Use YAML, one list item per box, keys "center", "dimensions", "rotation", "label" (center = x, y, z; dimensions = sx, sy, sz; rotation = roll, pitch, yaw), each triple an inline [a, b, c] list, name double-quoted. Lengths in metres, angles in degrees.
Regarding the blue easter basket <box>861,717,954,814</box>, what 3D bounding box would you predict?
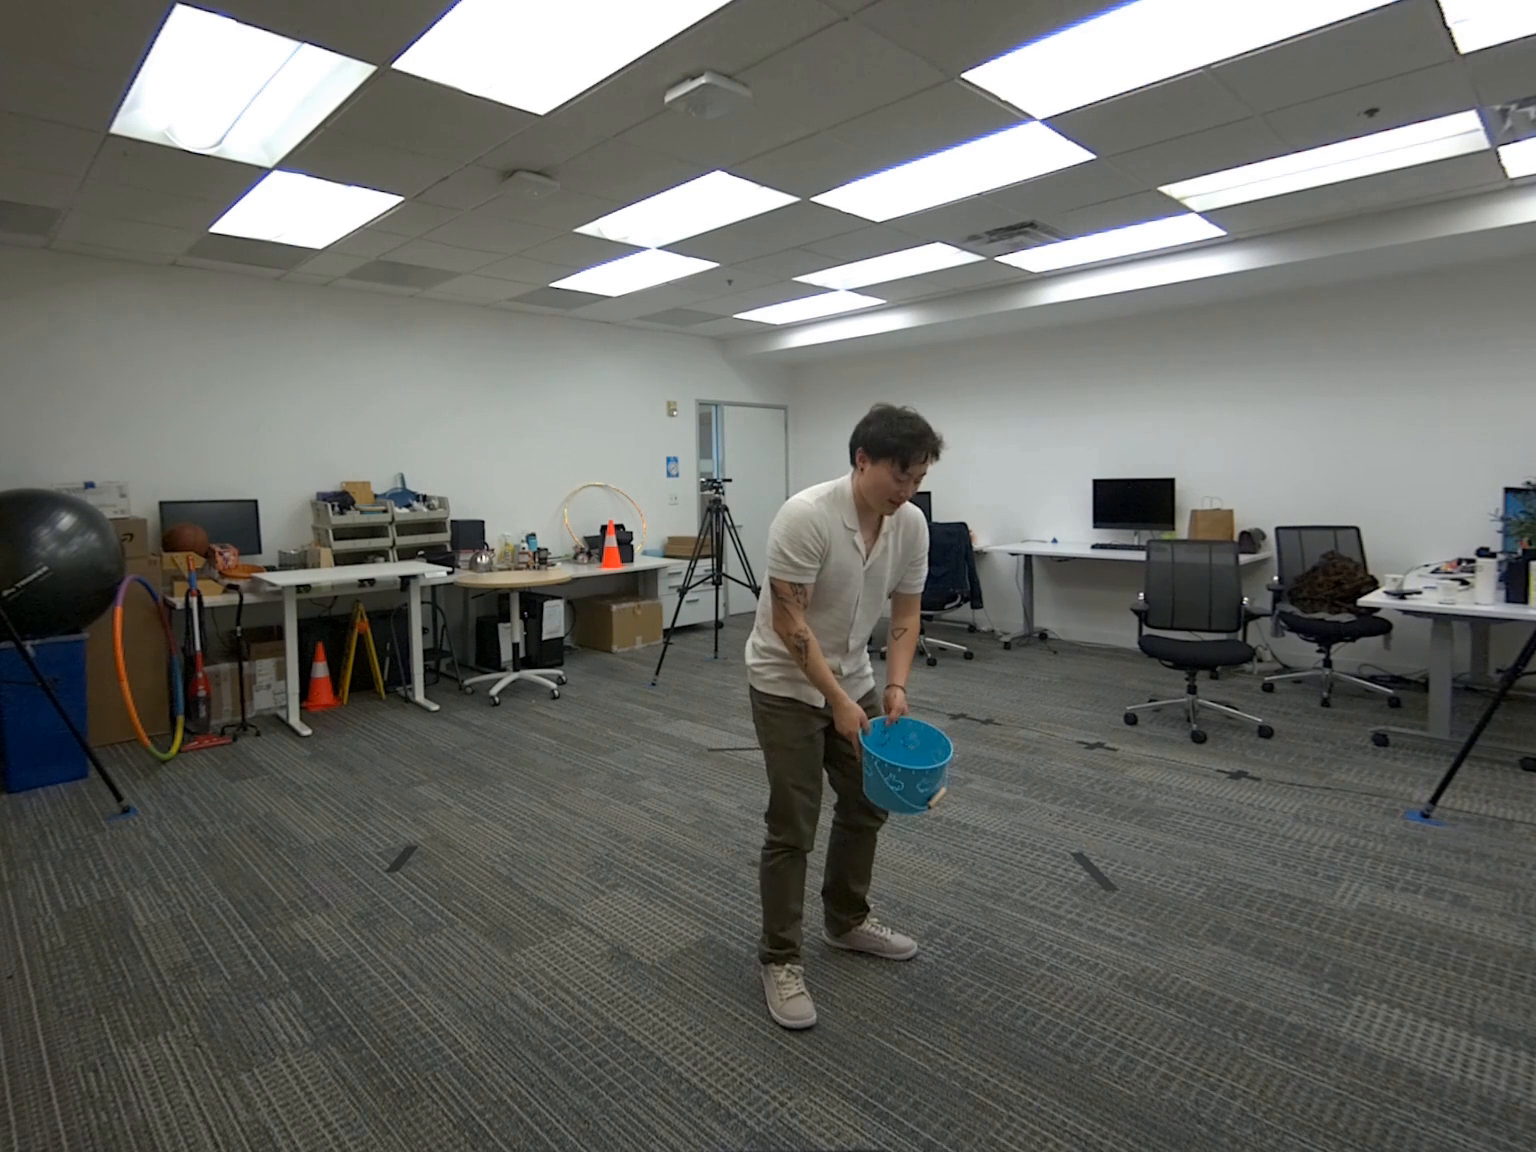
- center: [0.351, 0.492, 2.160]
  dimensions: [0.243, 0.153, 0.248]
  rotation: [3, 19, -3]
  label: "blue easter basket"
